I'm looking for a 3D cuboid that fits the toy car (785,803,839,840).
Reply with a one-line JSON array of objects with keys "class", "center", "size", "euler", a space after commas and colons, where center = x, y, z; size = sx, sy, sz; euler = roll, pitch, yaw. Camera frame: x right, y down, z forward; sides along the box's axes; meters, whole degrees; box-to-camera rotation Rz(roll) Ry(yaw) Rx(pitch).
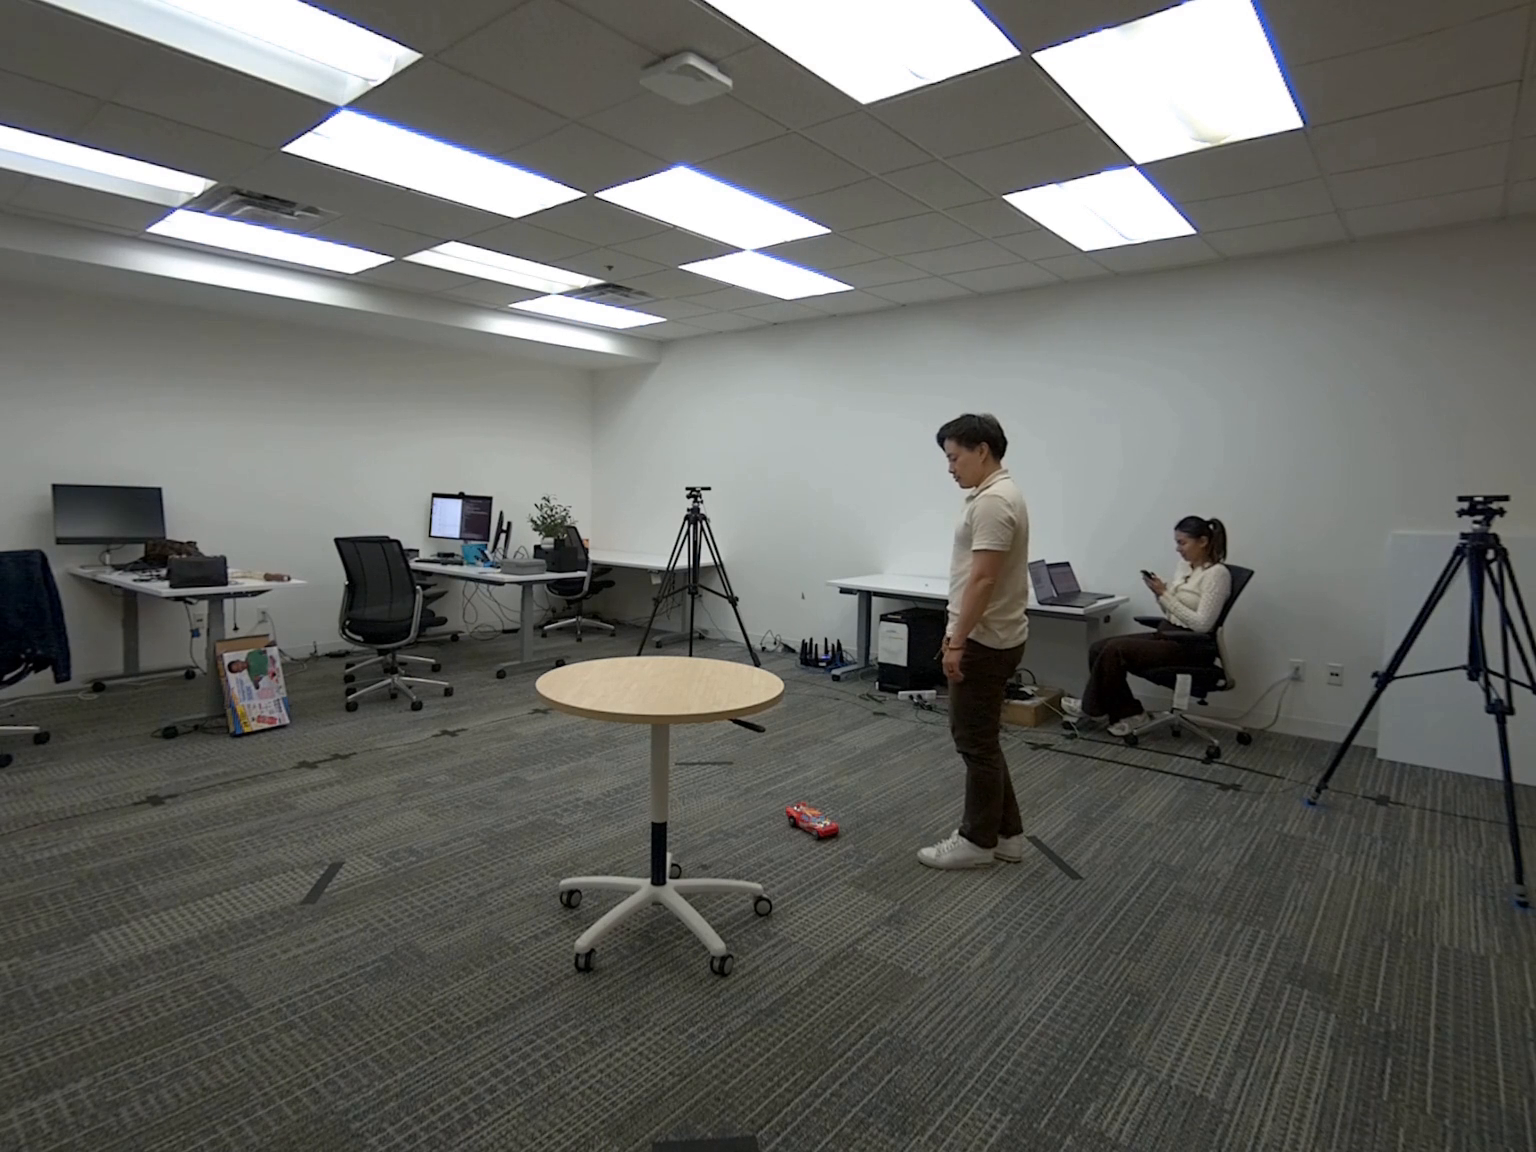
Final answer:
[{"class": "toy car", "center": [0.169, 1.003, 3.503], "size": [0.126, 0.082, 0.265], "euler": [-2, 17, -35]}]
